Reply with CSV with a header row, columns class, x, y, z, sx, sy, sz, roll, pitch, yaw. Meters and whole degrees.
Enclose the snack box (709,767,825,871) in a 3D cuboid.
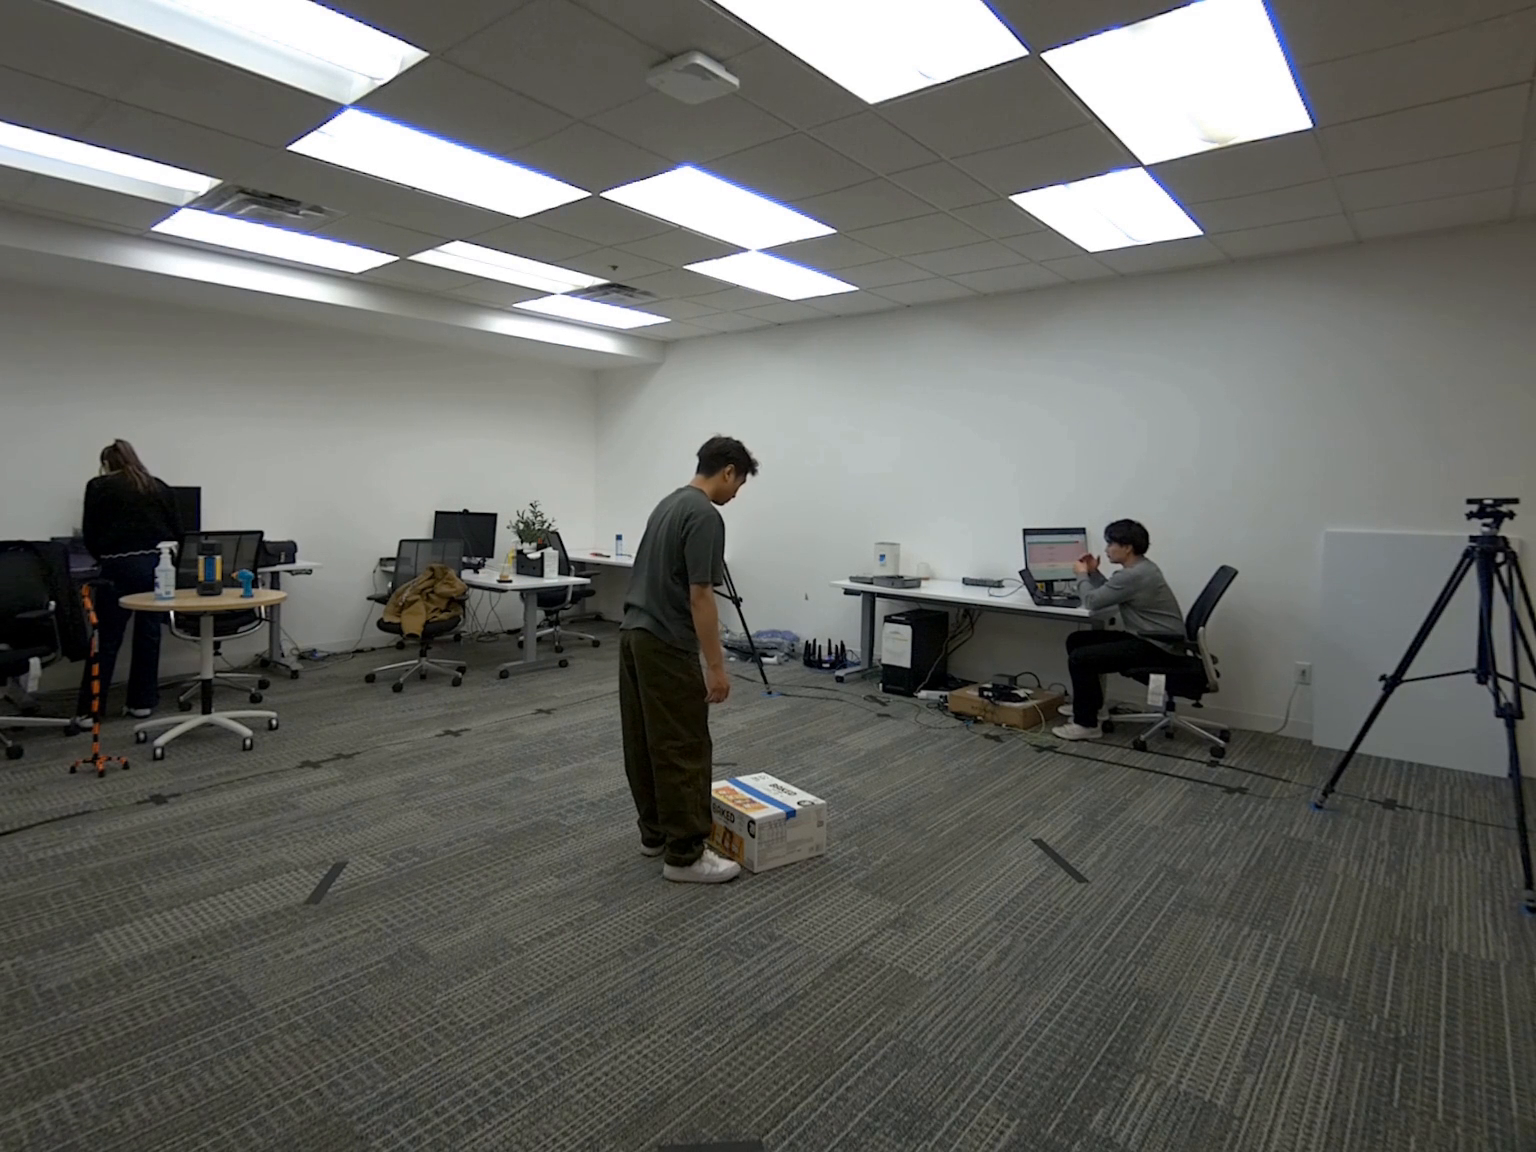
class,x,y,z,sx,sy,sz,roll,pitch,yaw
snack box,-0.045,0.941,3.313,0.330,0.205,0.418,-3,6,-36
